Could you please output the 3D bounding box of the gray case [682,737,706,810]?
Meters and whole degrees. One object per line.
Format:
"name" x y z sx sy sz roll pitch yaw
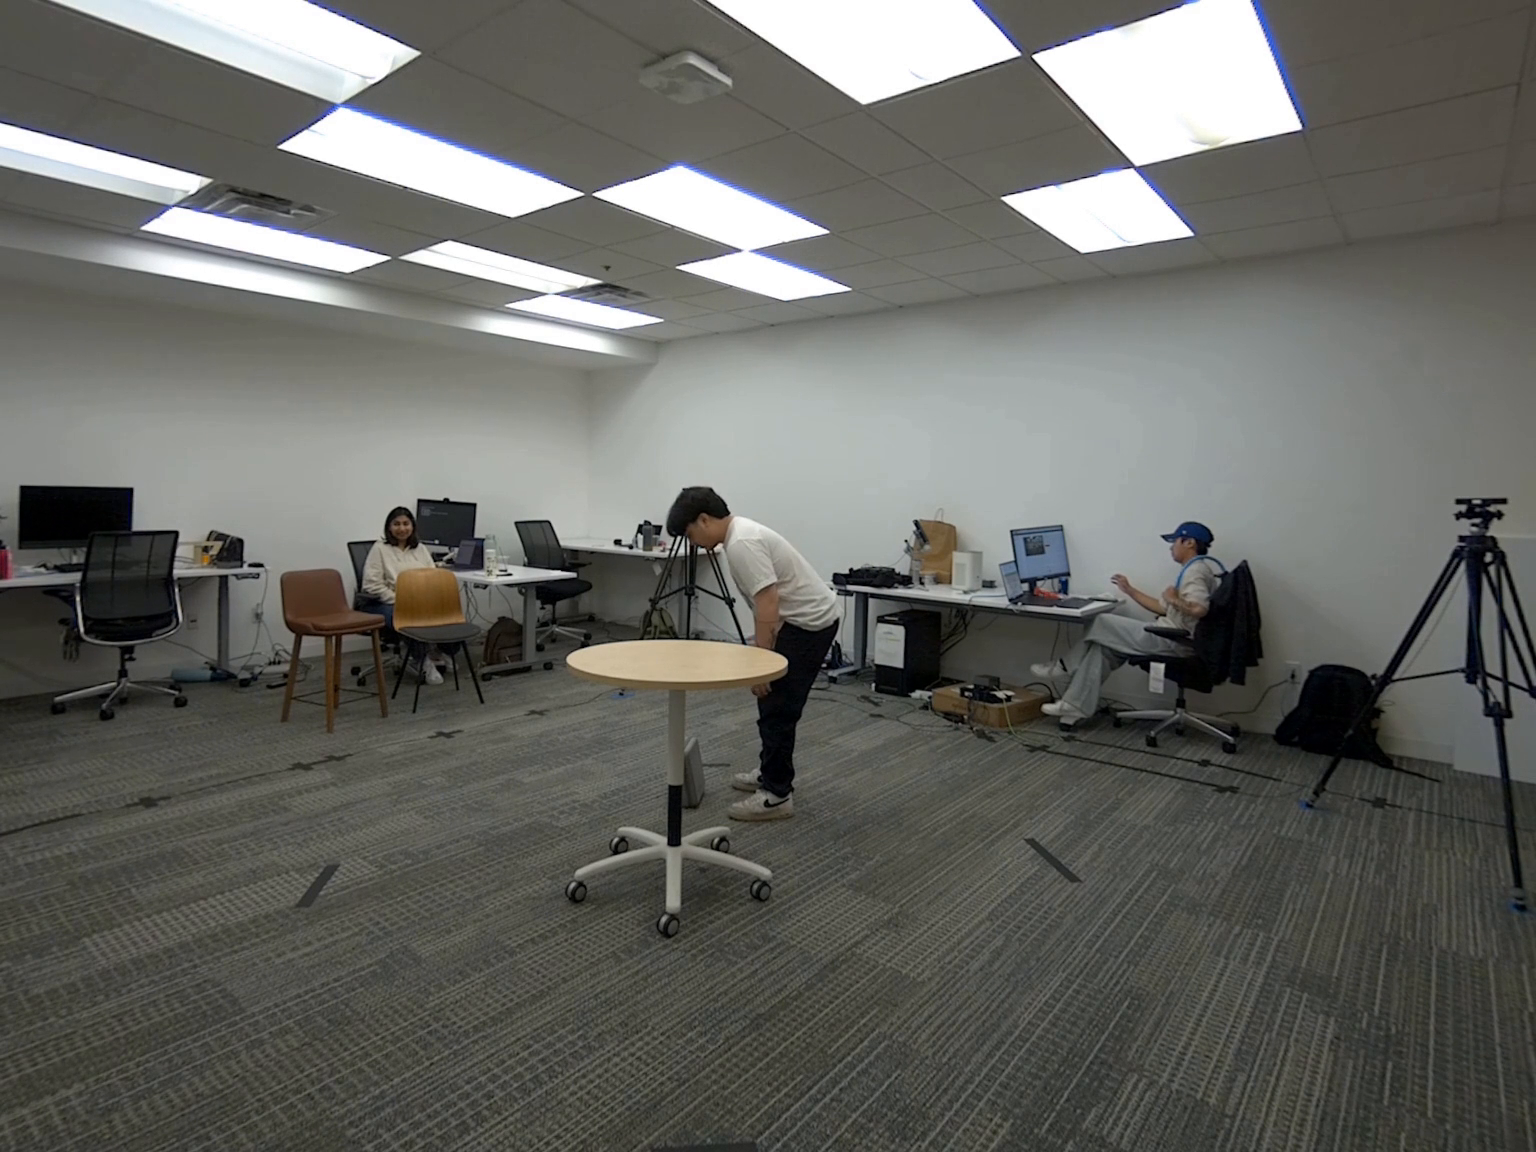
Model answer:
"gray case" -0.391 0.877 3.813 0.105 0.260 0.256 -11 3 4
